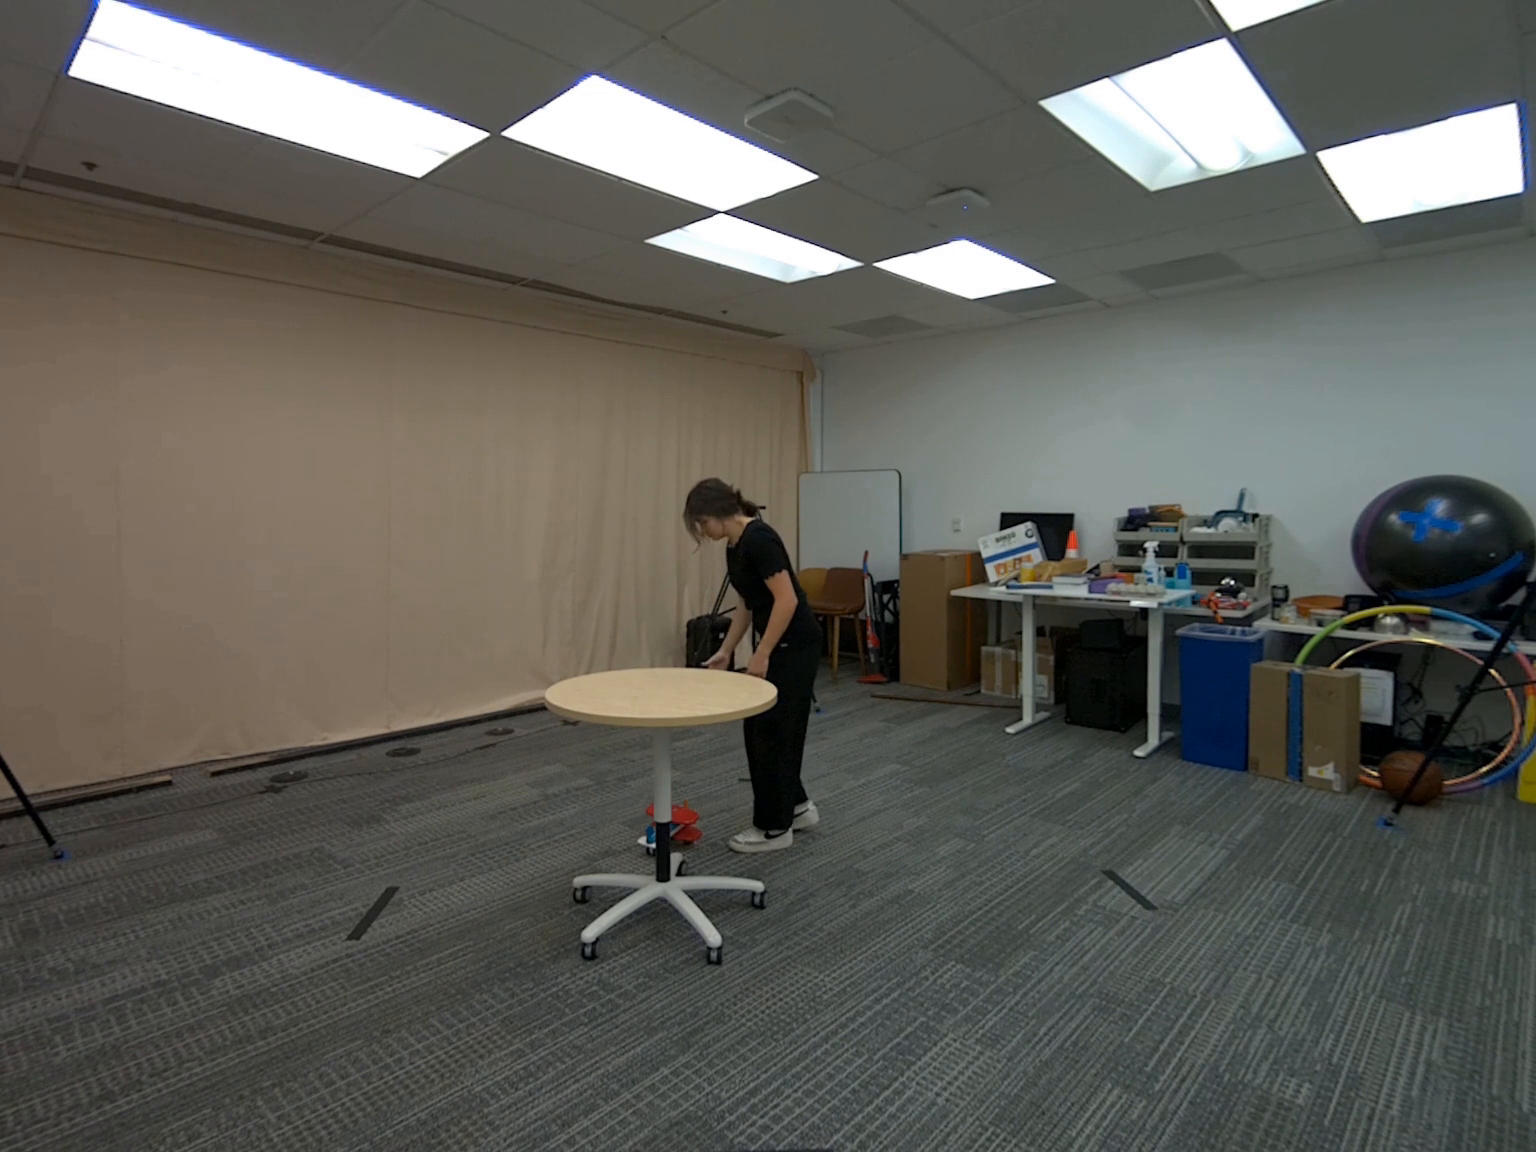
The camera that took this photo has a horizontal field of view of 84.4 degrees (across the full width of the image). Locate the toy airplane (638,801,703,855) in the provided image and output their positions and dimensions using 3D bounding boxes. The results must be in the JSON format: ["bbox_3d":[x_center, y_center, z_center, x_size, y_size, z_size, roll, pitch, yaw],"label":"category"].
[{"bbox_3d":[-0.390,1.045,3.411,0.253,0.156,0.258,-1,3,5],"label":"toy airplane"}]
